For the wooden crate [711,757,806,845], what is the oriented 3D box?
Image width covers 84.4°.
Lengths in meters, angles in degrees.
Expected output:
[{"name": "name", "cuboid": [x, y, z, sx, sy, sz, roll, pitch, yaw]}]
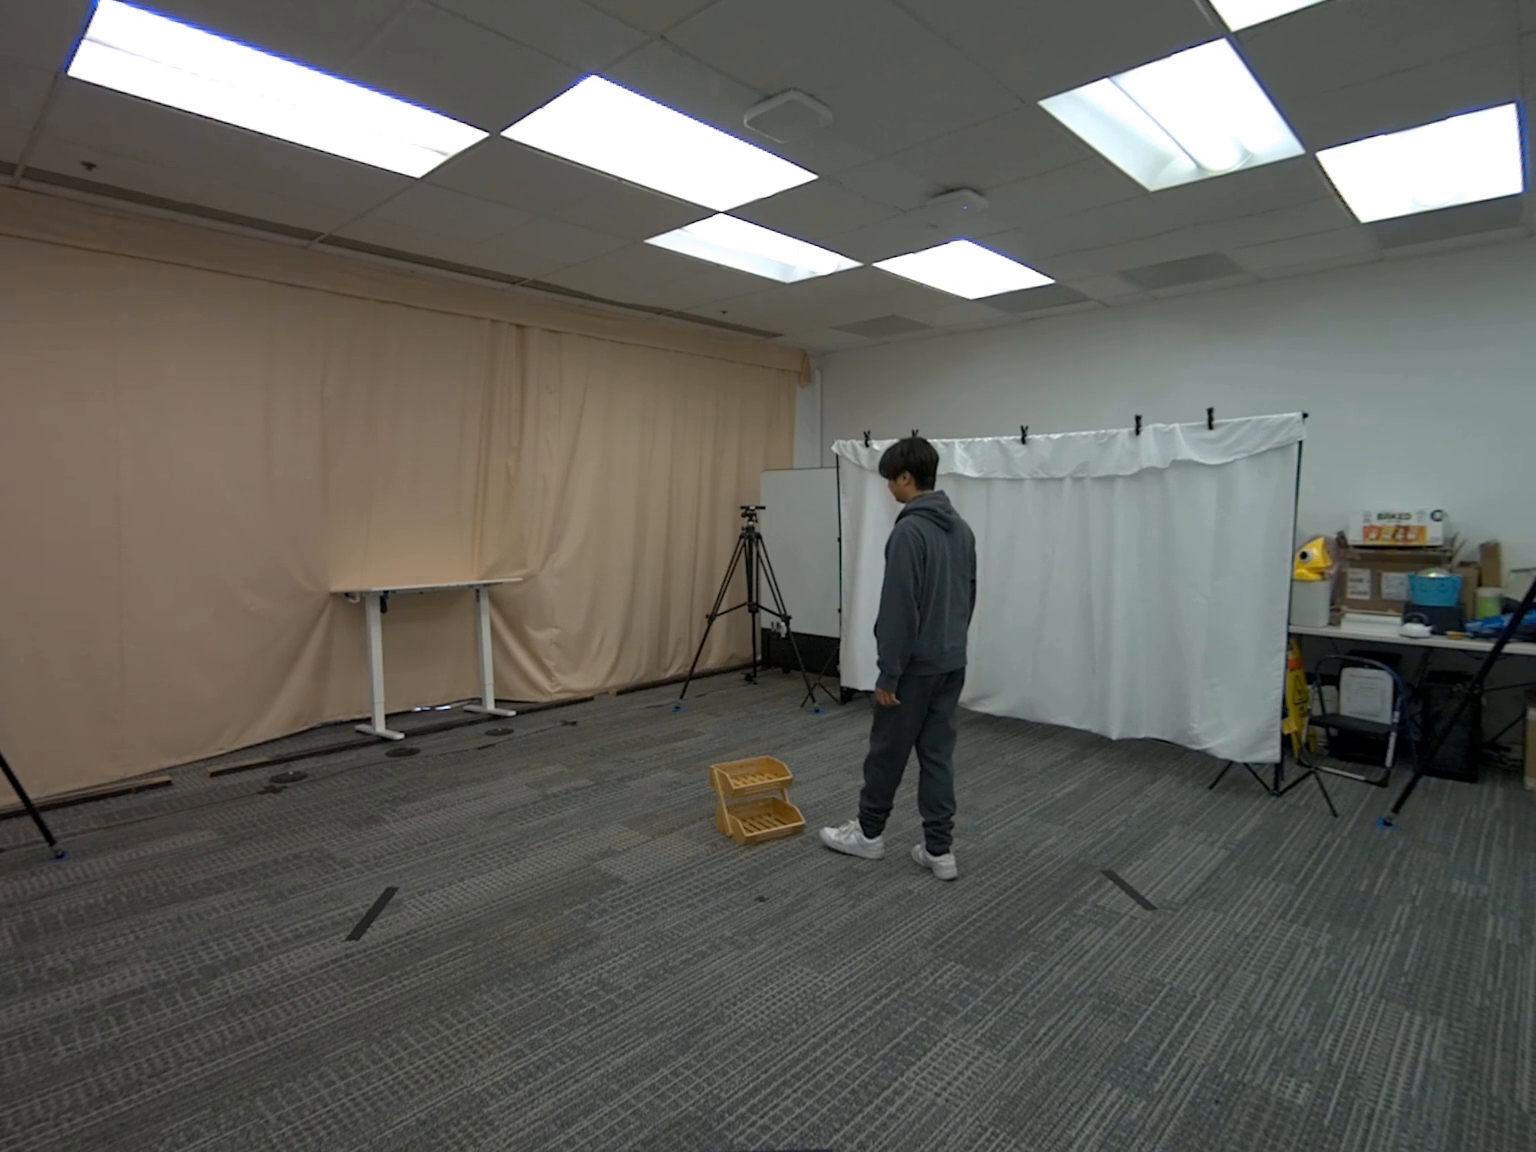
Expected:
[{"name": "wooden crate", "cuboid": [-0.045, 0.955, 3.630, 0.315, 0.273, 0.311, -2, 3, -31]}]
